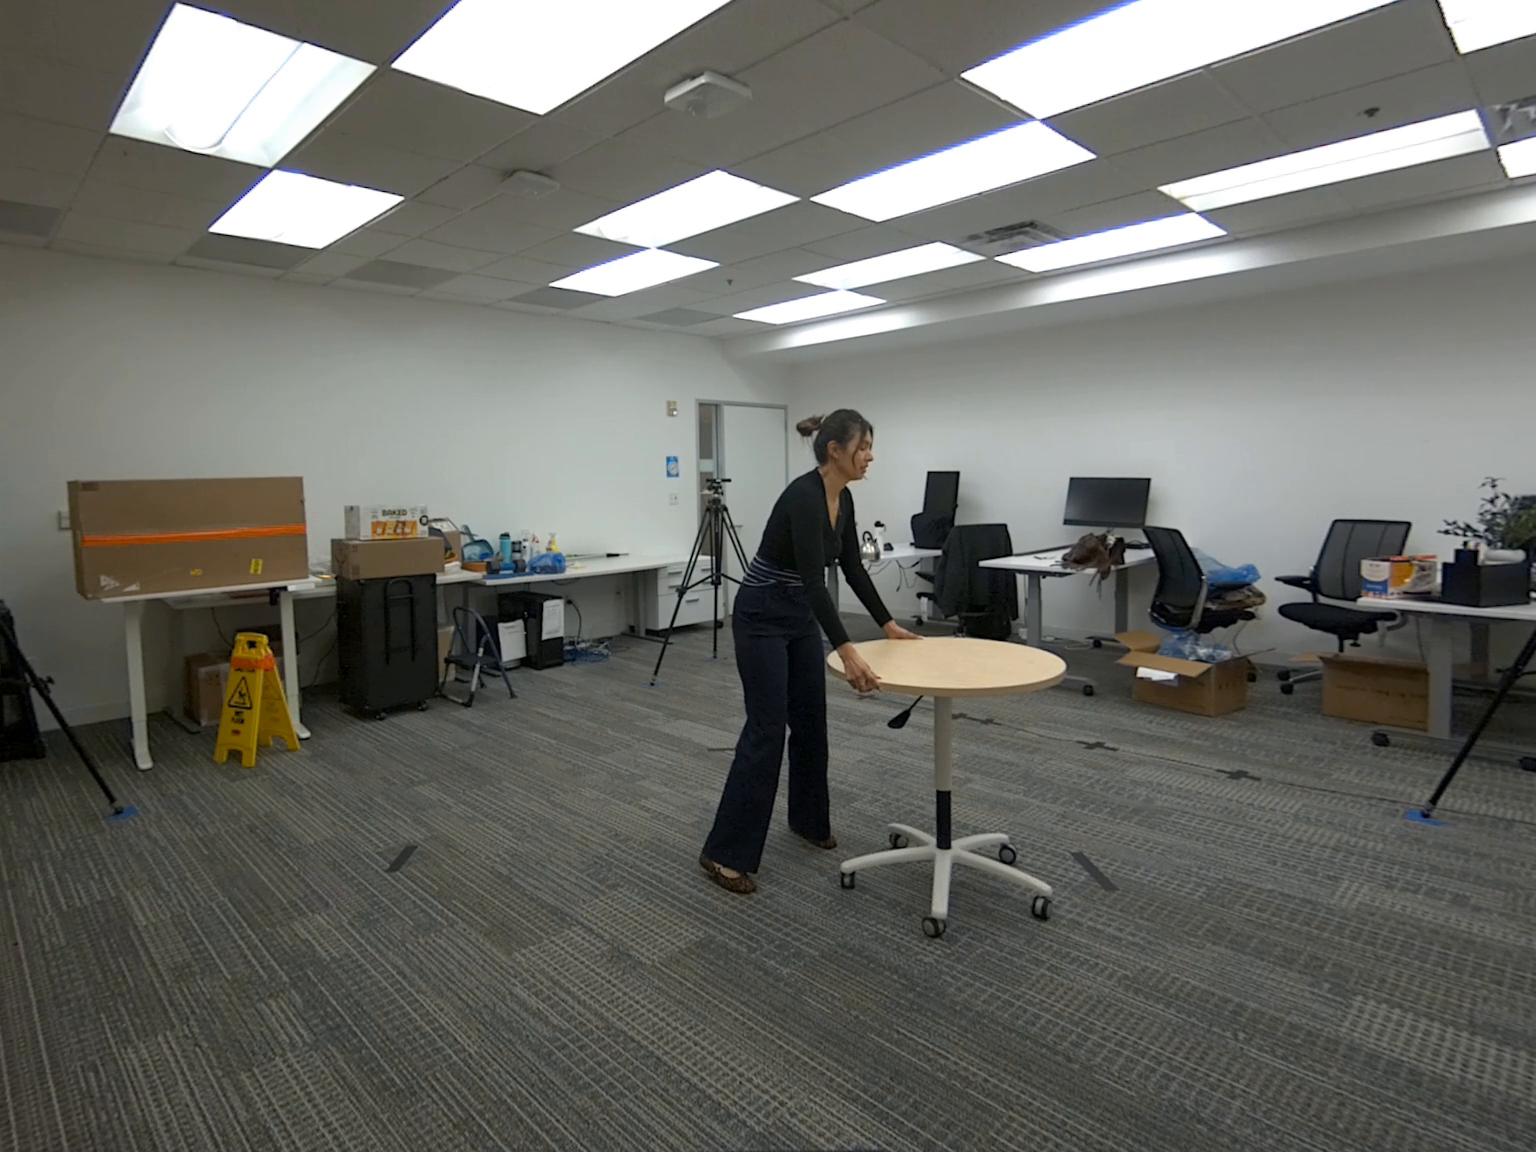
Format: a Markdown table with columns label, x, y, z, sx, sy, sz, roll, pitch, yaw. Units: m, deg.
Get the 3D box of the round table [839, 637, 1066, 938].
| label | x | y | z | sx | sy | sz | roll | pitch | yaw |
| --- | --- | --- | --- | --- | --- | --- | --- | --- | --- |
| round table | 0.593 | 0.670 | 2.871 | 0.763 | 0.790 | 0.768 | -1 | 5 | -2 |
